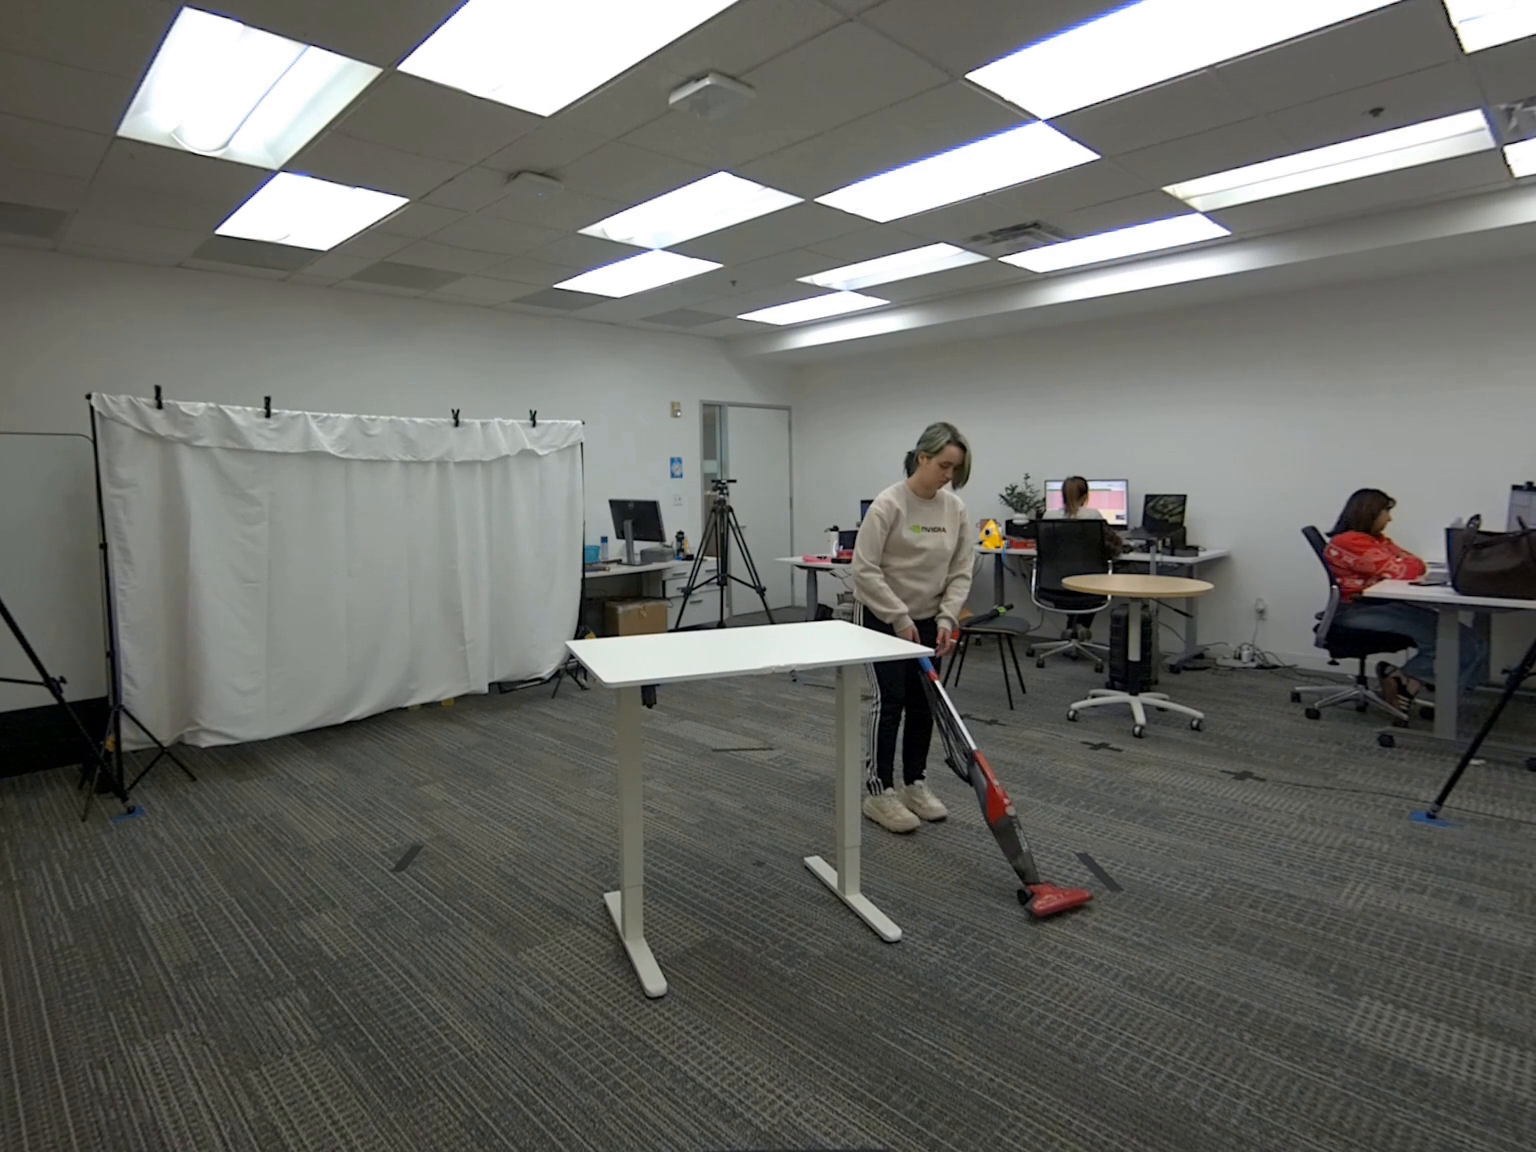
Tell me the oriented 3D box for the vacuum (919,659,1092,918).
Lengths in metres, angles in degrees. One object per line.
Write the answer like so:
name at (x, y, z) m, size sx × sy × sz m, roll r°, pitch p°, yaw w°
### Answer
vacuum at (0.734, 0.662, 3.072) m, size 0.247 × 0.142 × 1.087 m, roll -1°, pitch 47°, yaw -28°
